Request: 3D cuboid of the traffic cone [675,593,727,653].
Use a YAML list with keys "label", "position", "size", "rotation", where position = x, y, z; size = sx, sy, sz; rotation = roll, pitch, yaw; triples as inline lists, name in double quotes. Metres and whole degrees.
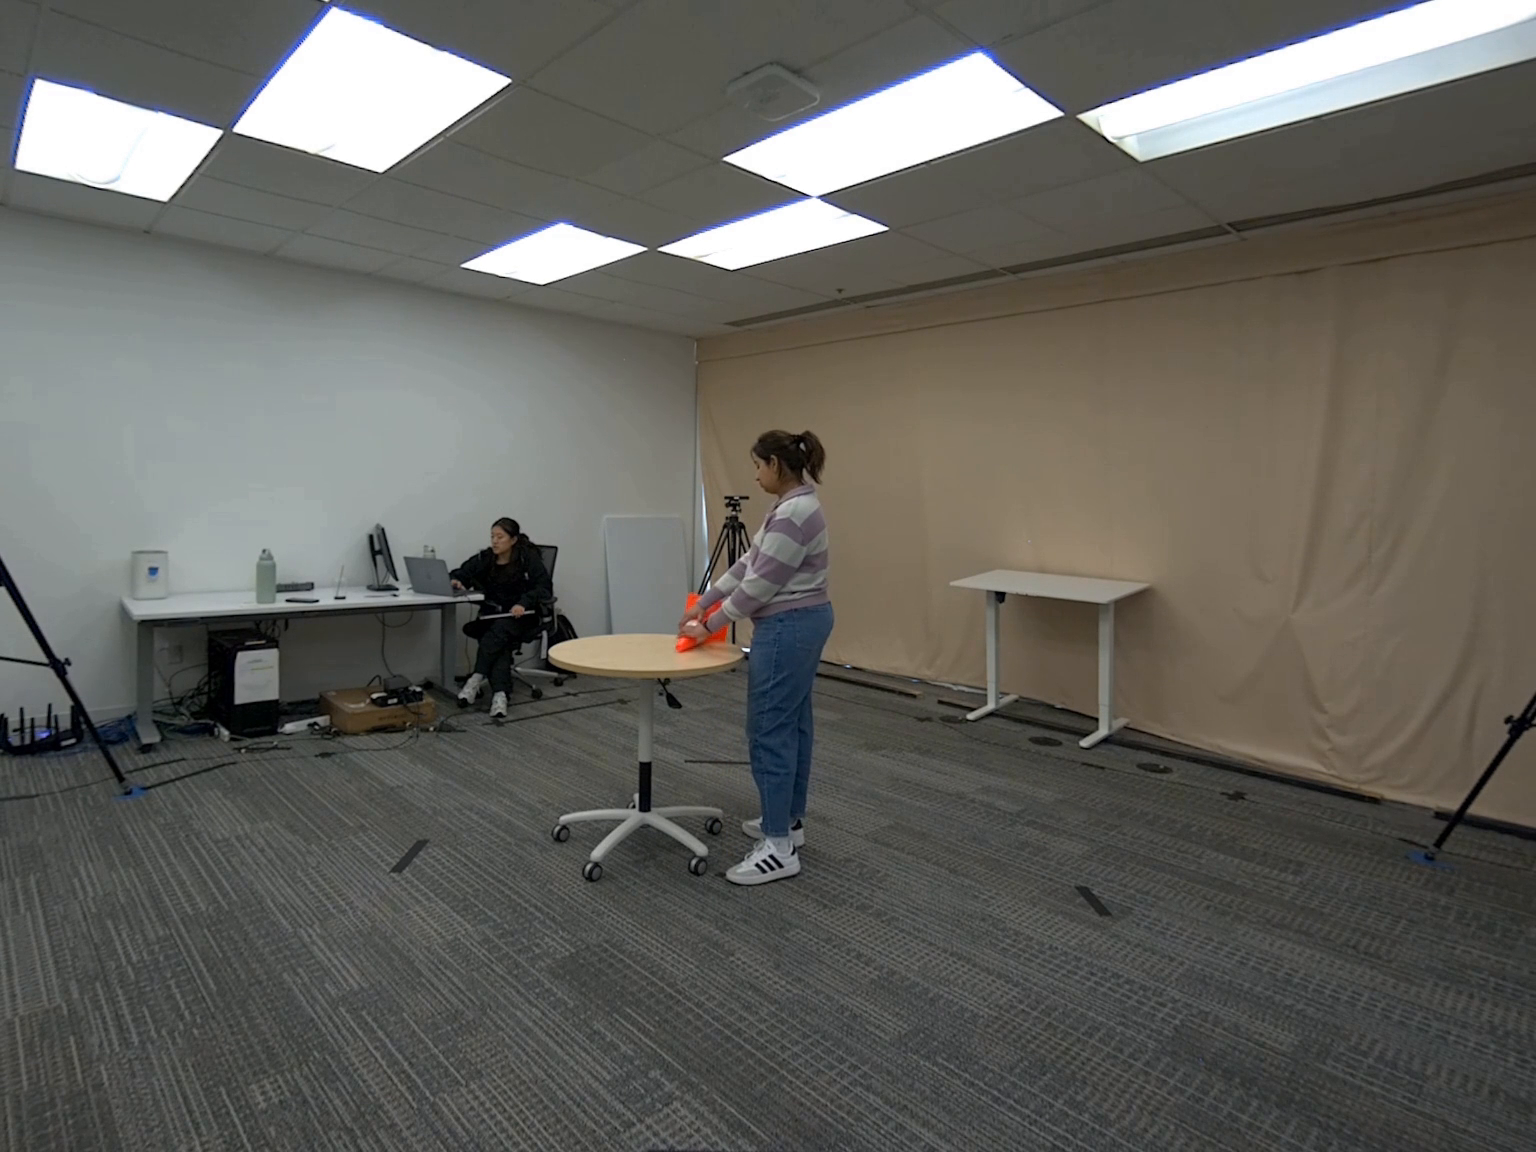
- label: "traffic cone"
  position: [-0.302, 0.236, 3.445]
  size: [0.207, 0.201, 0.383]
  rotation: [13, 17, 8]
